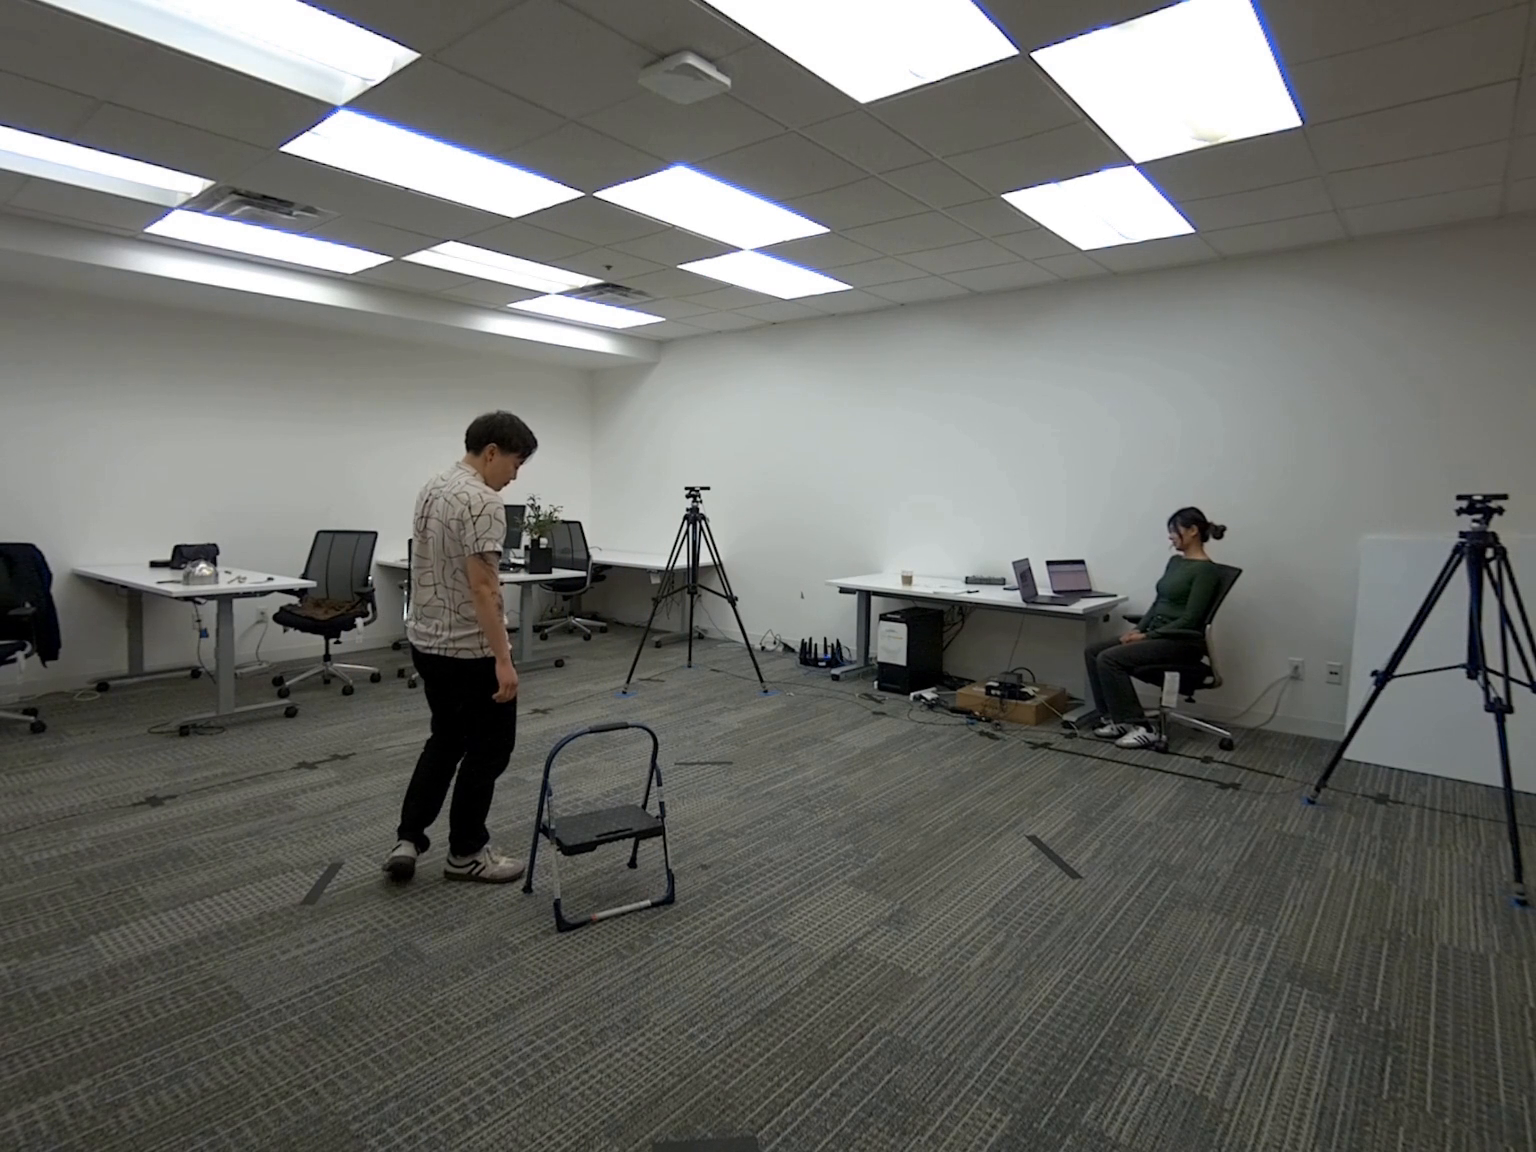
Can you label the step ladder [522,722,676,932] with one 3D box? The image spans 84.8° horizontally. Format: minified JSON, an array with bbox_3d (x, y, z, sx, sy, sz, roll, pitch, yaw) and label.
[{"bbox_3d":[-0.581,0.780,2.869,0.419,0.604,0.360,-2,4,-33],"label":"step ladder"}]
